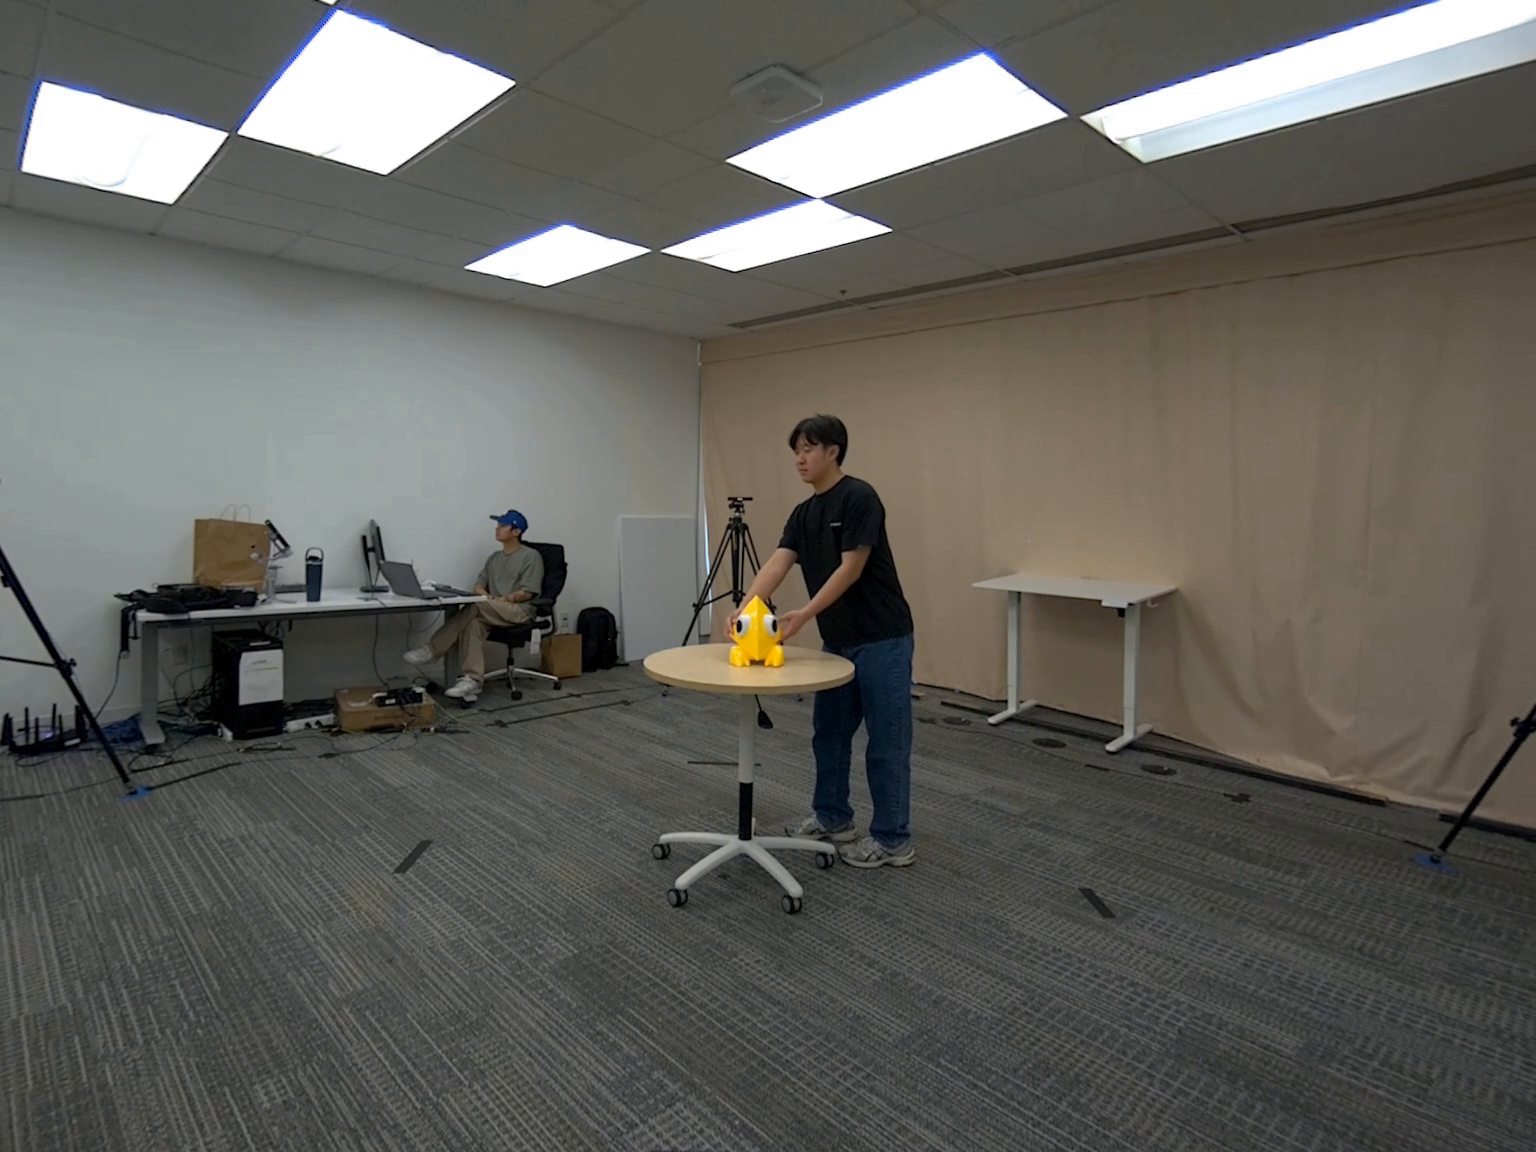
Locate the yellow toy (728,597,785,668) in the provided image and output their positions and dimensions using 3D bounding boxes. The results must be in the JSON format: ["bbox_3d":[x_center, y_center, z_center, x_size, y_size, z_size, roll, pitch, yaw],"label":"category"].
[{"bbox_3d":[-0.053,0.193,3.055,0.205,0.229,0.194,1,8,-1],"label":"yellow toy"}]
